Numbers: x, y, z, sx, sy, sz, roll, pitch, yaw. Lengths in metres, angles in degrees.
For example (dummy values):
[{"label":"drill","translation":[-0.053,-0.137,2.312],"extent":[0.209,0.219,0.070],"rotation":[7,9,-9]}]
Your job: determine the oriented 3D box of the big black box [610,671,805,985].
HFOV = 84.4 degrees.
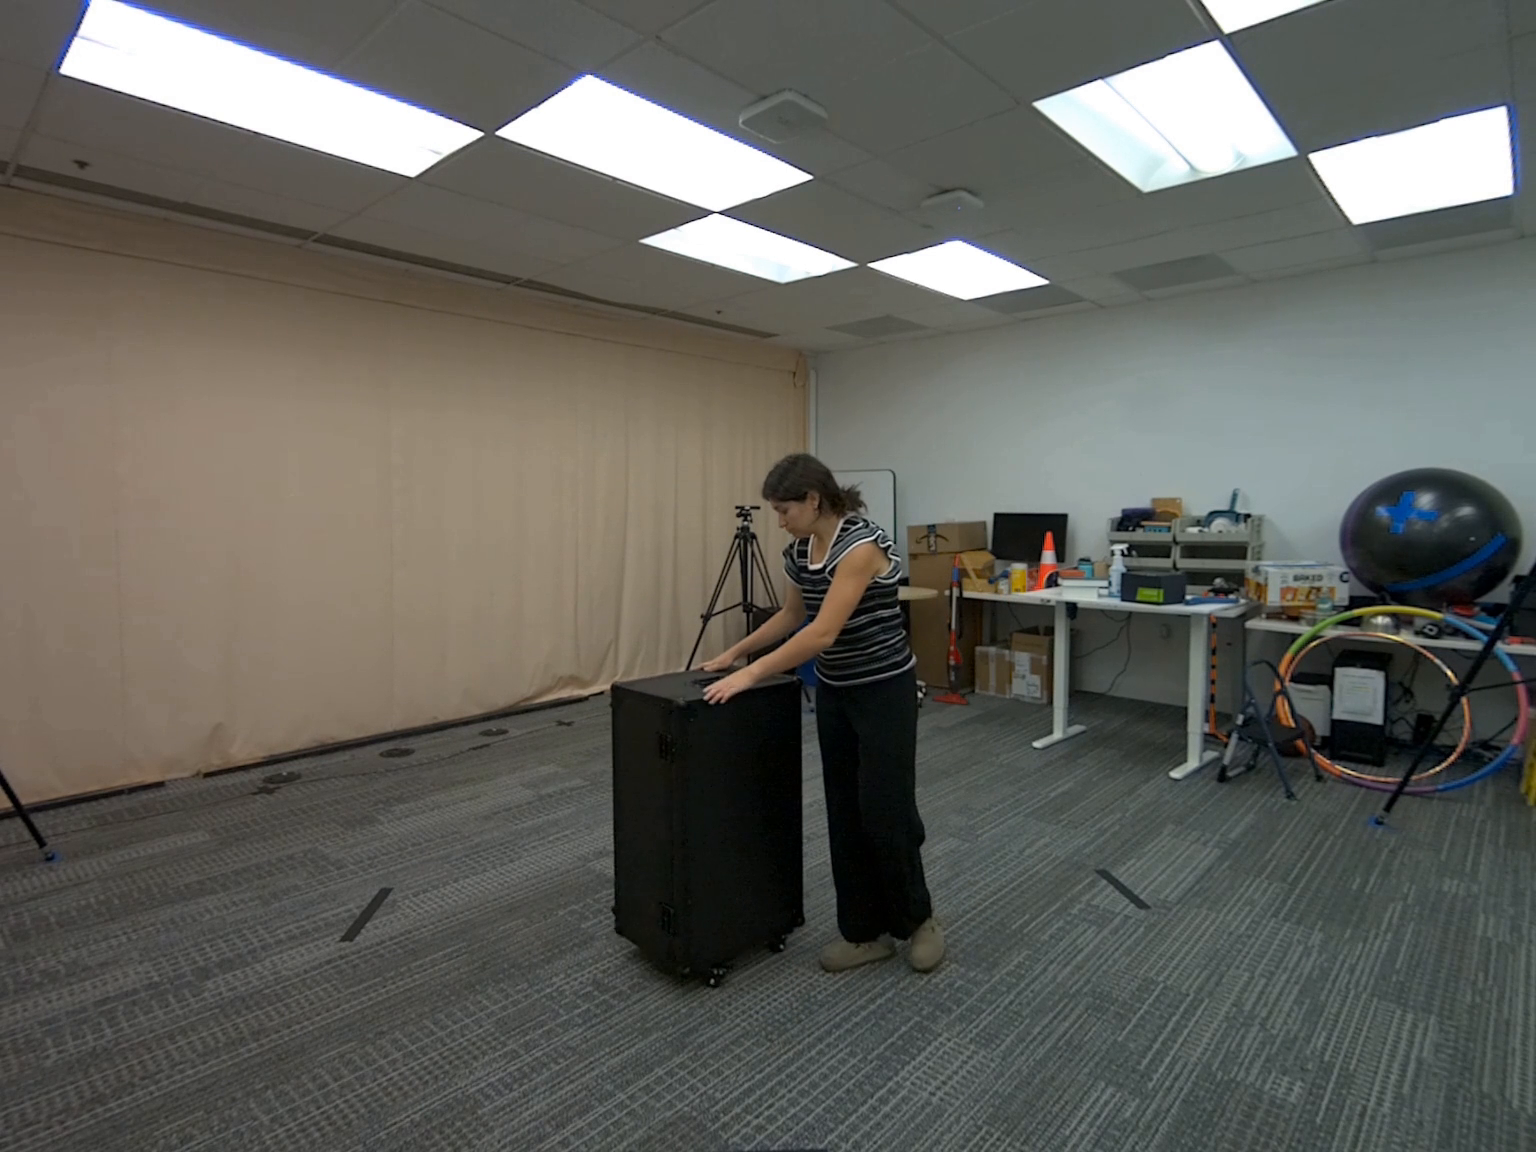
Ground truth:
[{"label":"big black box","translation":[-0.193,0.753,2.624],"extent":[0.505,0.860,0.409],"rotation":[-2,2,-42]}]
